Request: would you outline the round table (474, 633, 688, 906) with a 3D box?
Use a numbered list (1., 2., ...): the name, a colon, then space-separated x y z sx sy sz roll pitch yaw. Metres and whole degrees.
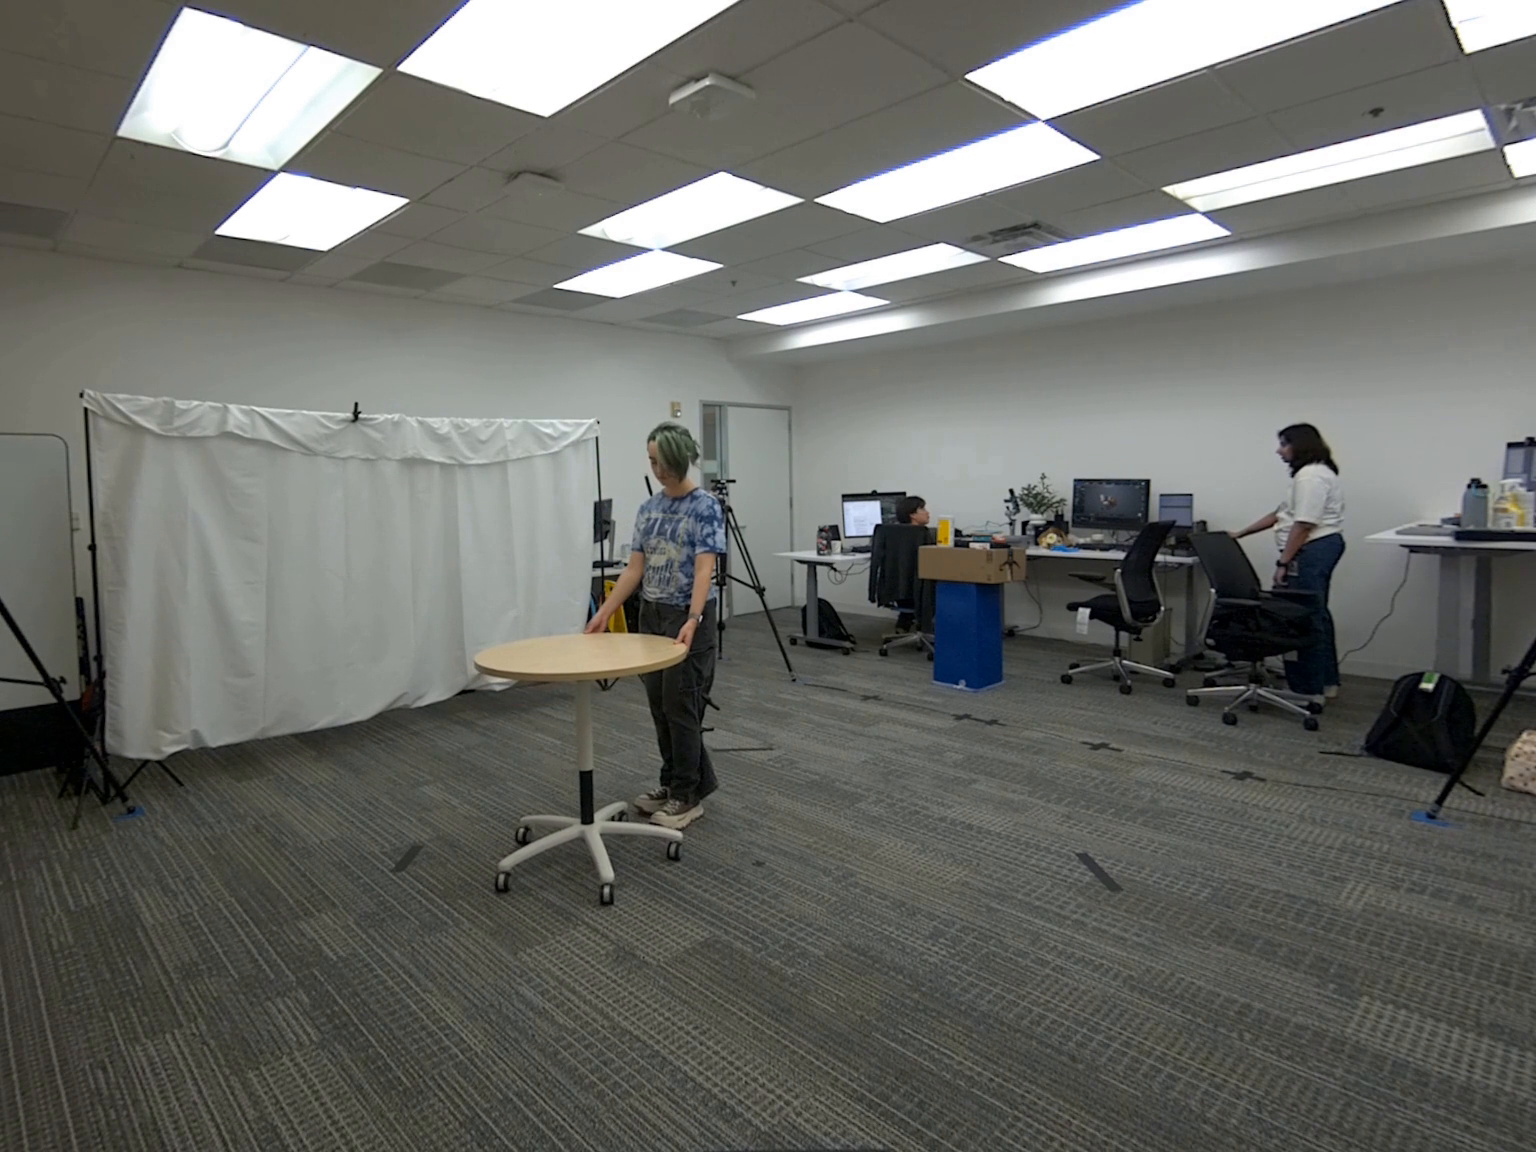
1. round table: -0.668 0.666 3.136 0.763 0.791 0.767 -2 4 -2
